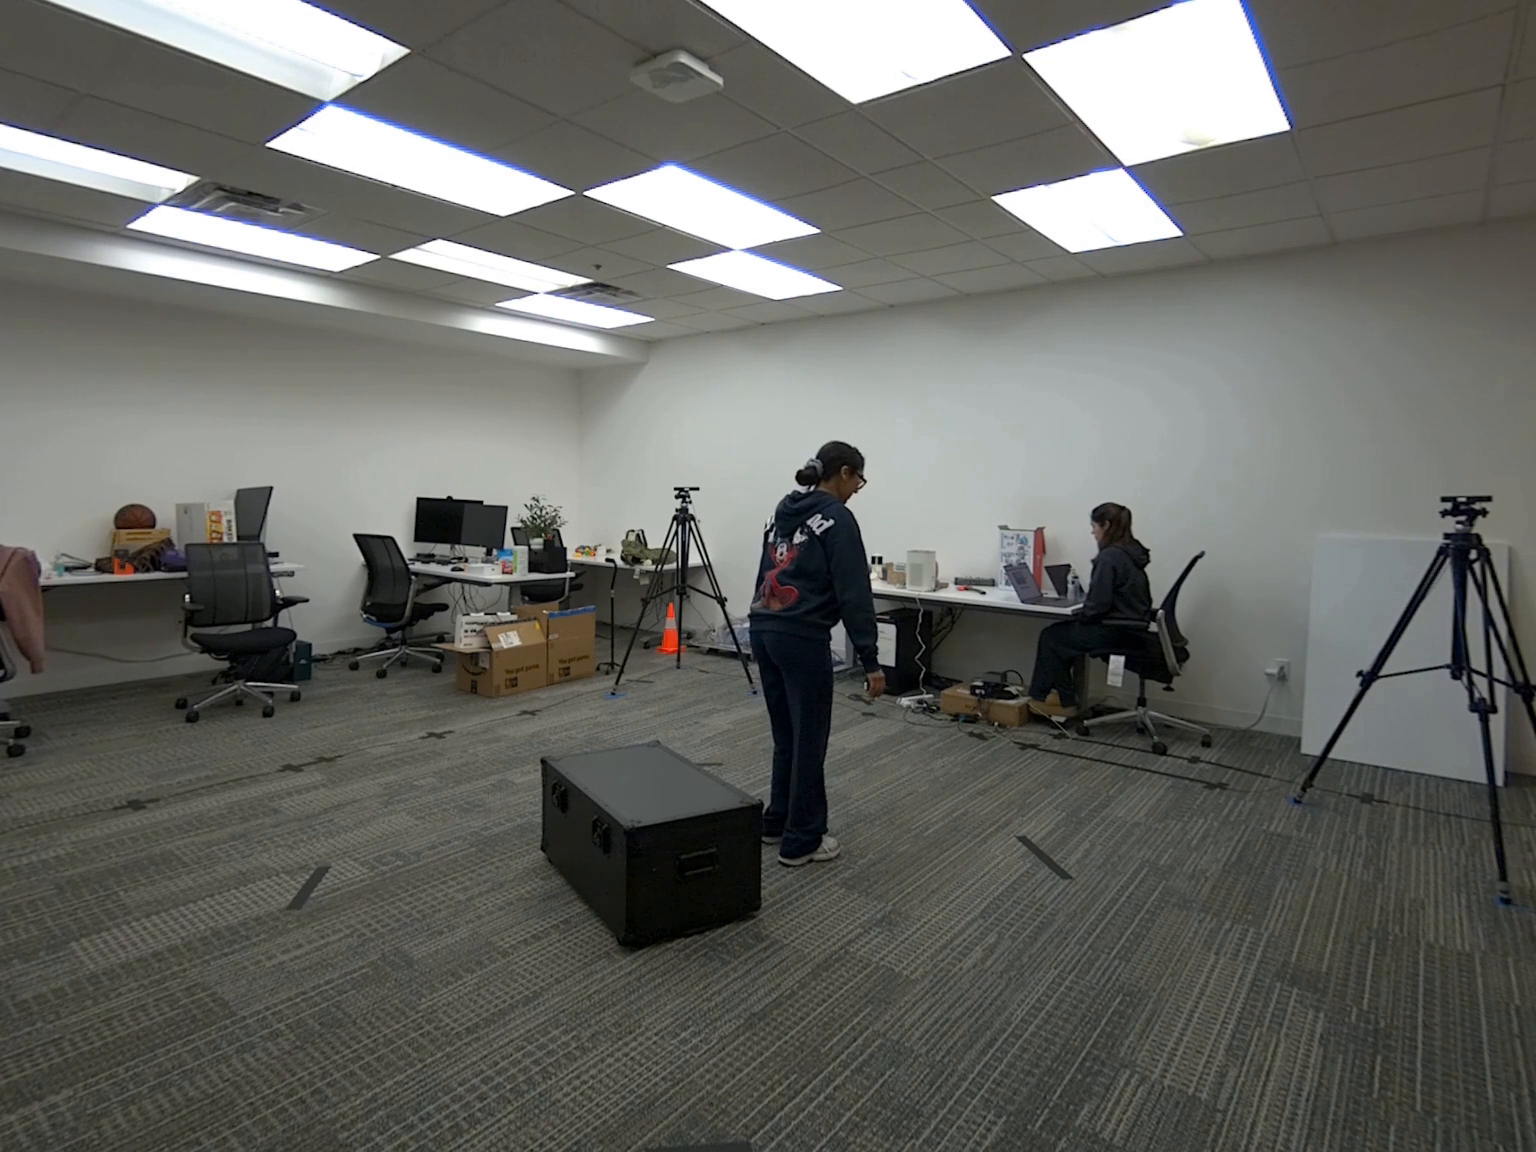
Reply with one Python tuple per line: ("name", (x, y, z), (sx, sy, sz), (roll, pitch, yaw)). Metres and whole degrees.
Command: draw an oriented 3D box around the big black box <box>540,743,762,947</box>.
("big black box", (-0.473, 0.899, 2.983), (0.384, 0.520, 0.890), (1, 4, -35))
